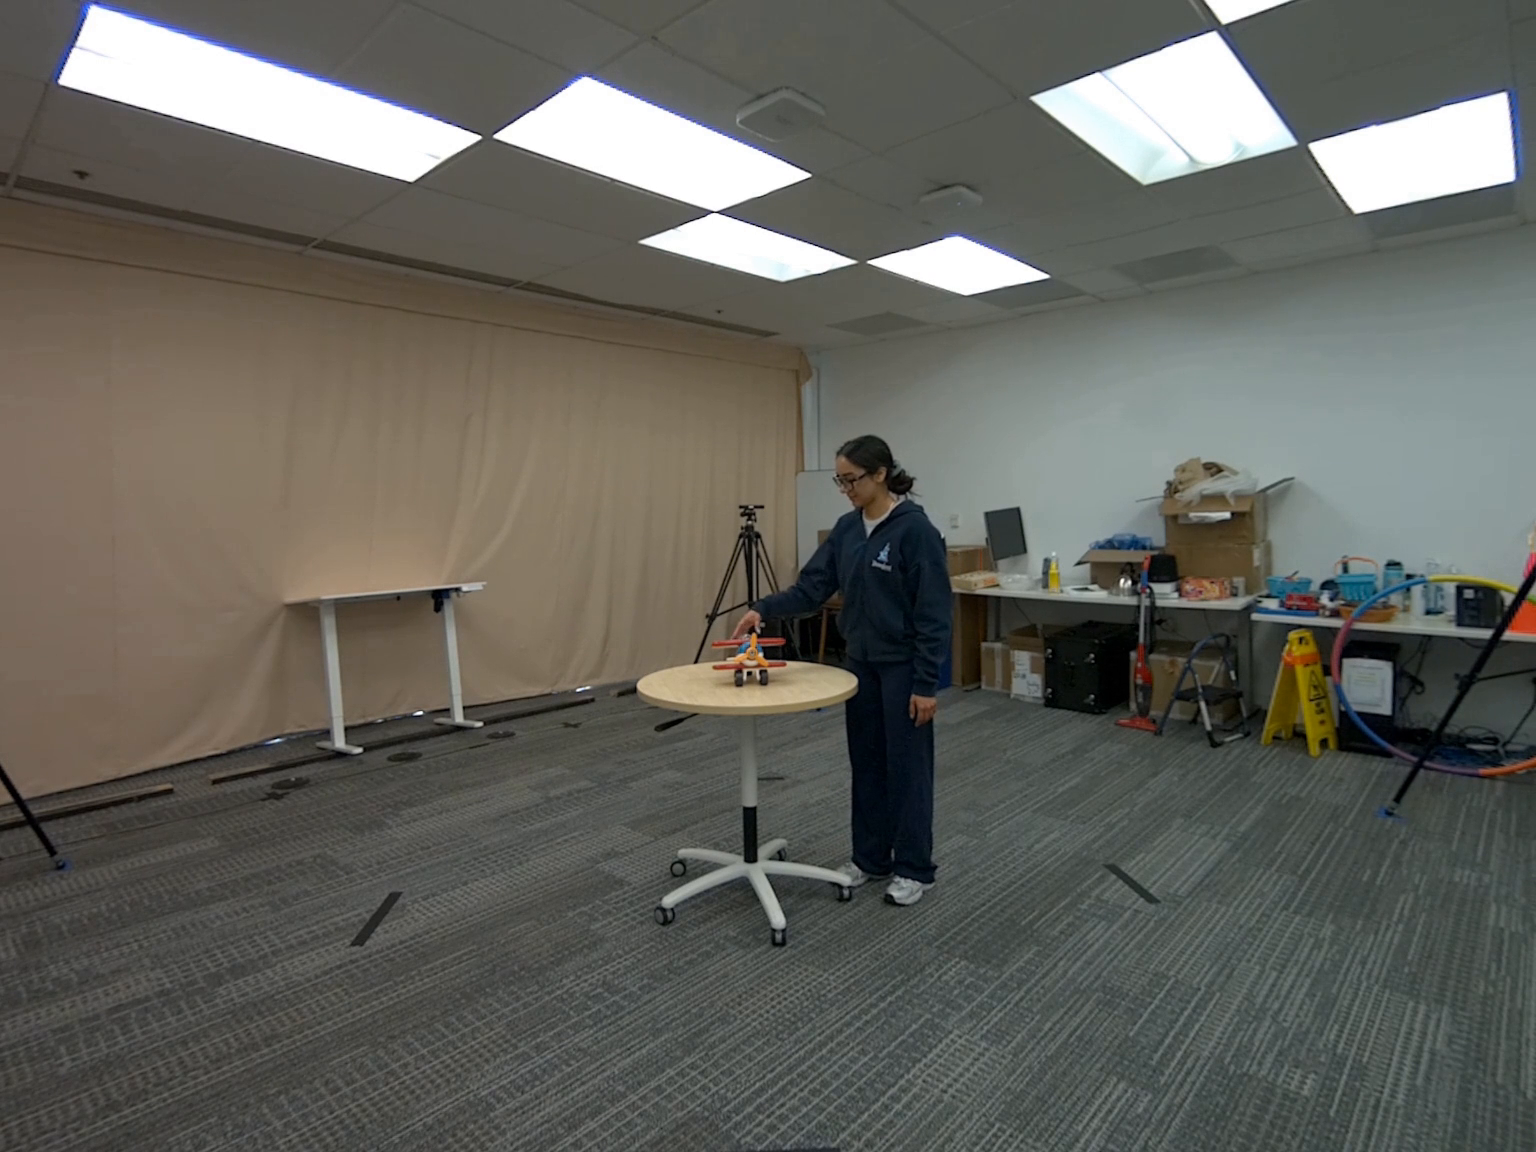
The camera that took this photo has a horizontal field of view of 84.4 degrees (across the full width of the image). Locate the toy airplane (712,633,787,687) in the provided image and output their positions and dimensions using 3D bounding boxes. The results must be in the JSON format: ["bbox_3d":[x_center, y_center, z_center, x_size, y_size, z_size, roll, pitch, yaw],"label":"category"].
[{"bbox_3d":[-0.083,0.294,2.932,0.244,0.156,0.267,-5,4,-32],"label":"toy airplane"}]
